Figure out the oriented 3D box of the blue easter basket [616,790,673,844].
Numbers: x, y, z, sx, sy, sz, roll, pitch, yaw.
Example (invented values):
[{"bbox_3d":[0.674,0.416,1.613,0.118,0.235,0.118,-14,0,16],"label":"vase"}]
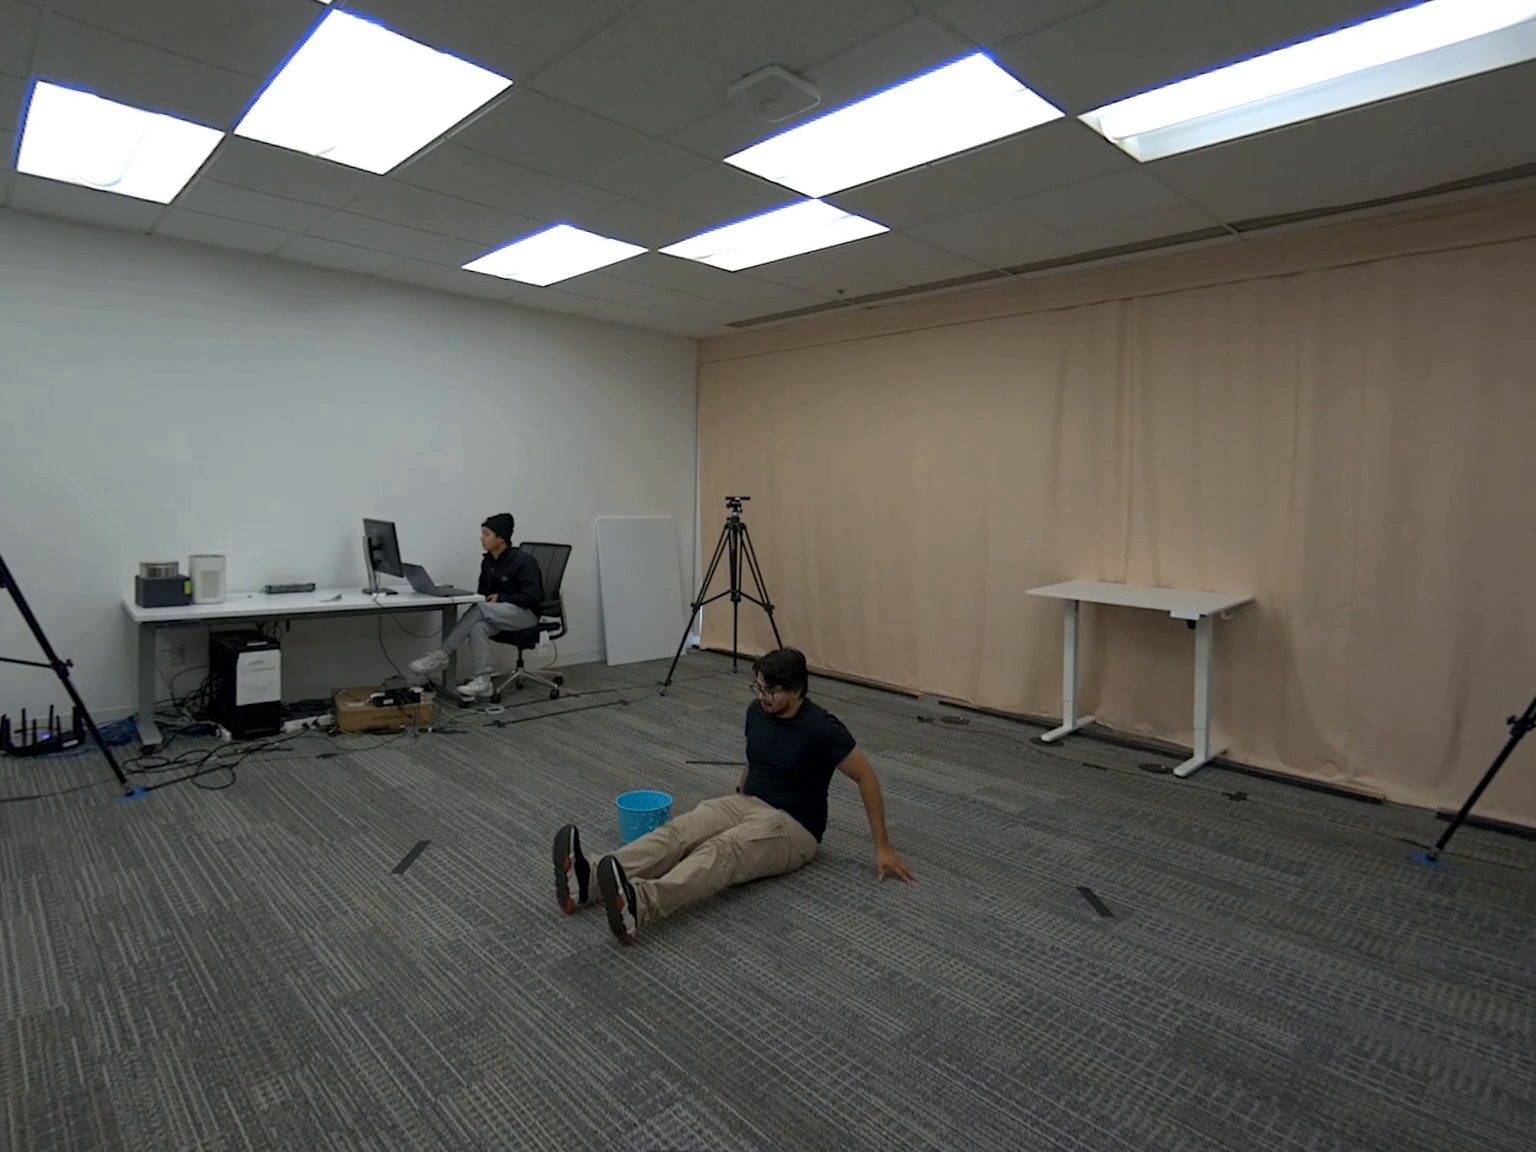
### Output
[{"bbox_3d":[-0.504,0.983,3.444,0.243,0.155,0.244,1,4,-1],"label":"blue easter basket"}]
